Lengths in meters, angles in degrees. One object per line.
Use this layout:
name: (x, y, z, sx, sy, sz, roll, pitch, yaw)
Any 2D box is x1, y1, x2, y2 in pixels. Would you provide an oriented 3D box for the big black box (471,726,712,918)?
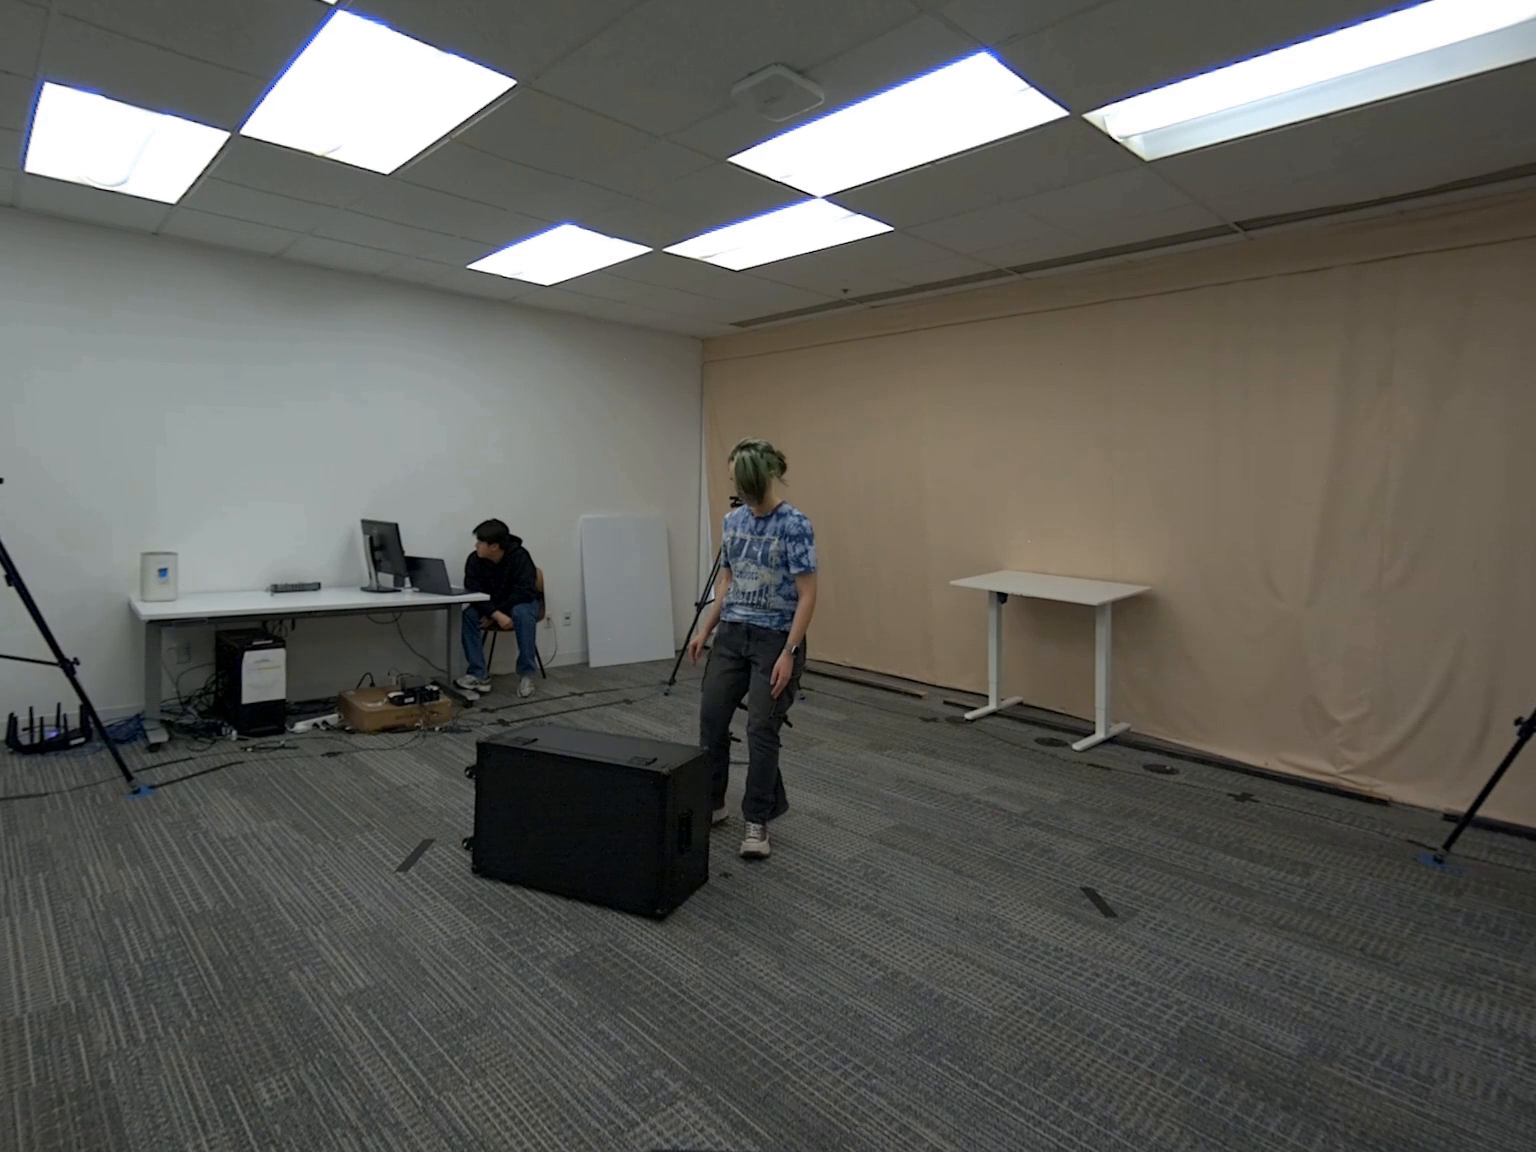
big black box: (-0.667, 0.840, 3.066, 0.877, 0.521, 0.389, 4, 2, 23)
